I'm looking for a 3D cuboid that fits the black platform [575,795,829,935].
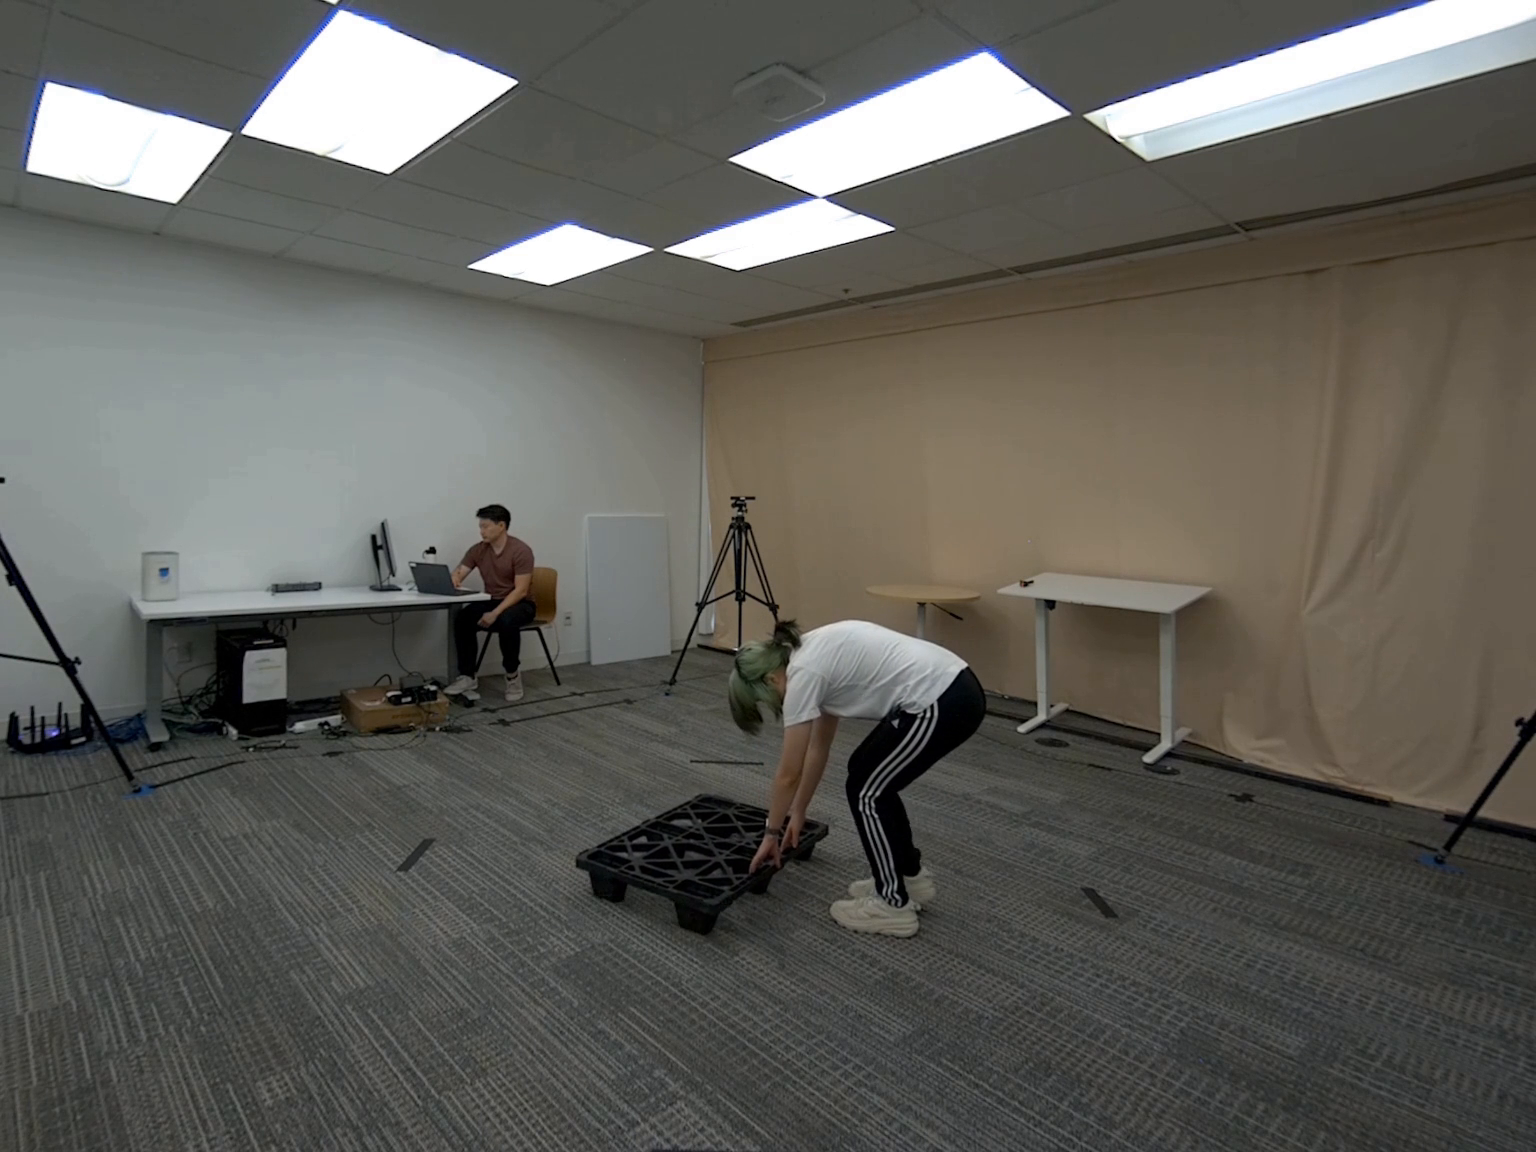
[{"bbox_3d":[-0.222,1.035,3.102,0.619,0.143,0.790,5,7,32],"label":"black platform"}]
